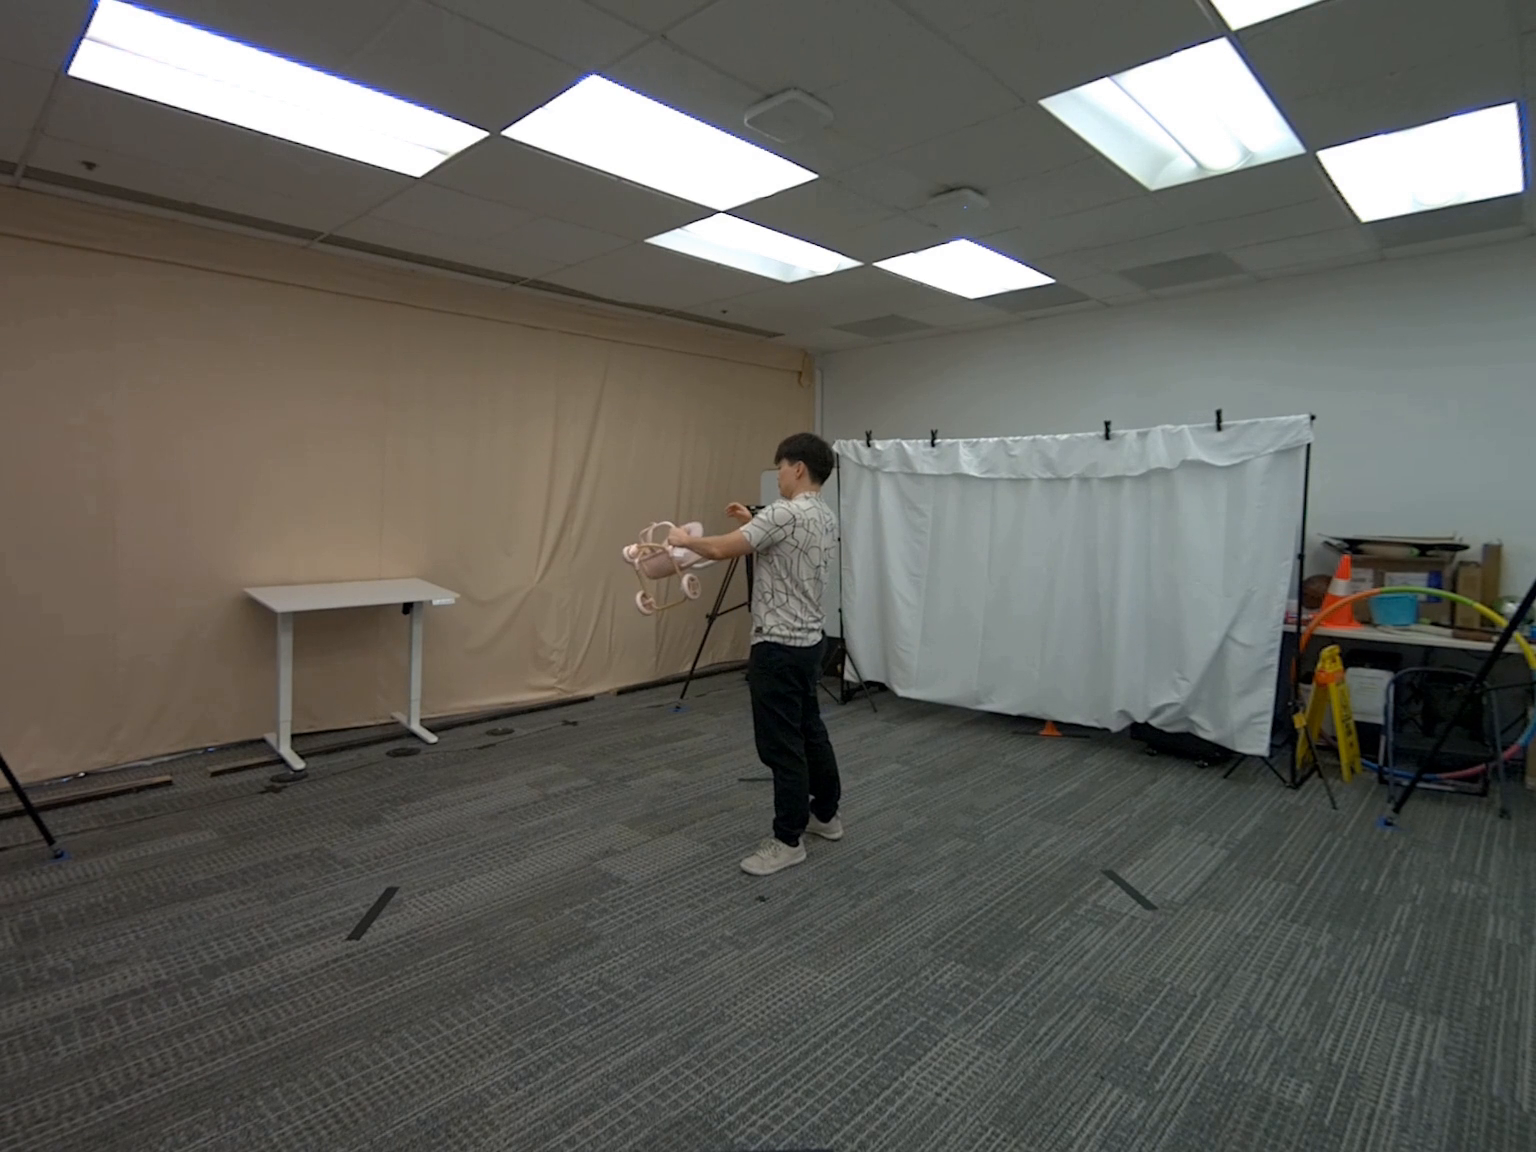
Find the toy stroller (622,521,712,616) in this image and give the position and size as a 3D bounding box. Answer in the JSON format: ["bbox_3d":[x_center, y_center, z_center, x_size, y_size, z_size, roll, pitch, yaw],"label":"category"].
[{"bbox_3d":[-0.406,-0.076,3.575,0.287,0.337,0.531,-24,15,33],"label":"toy stroller"}]
